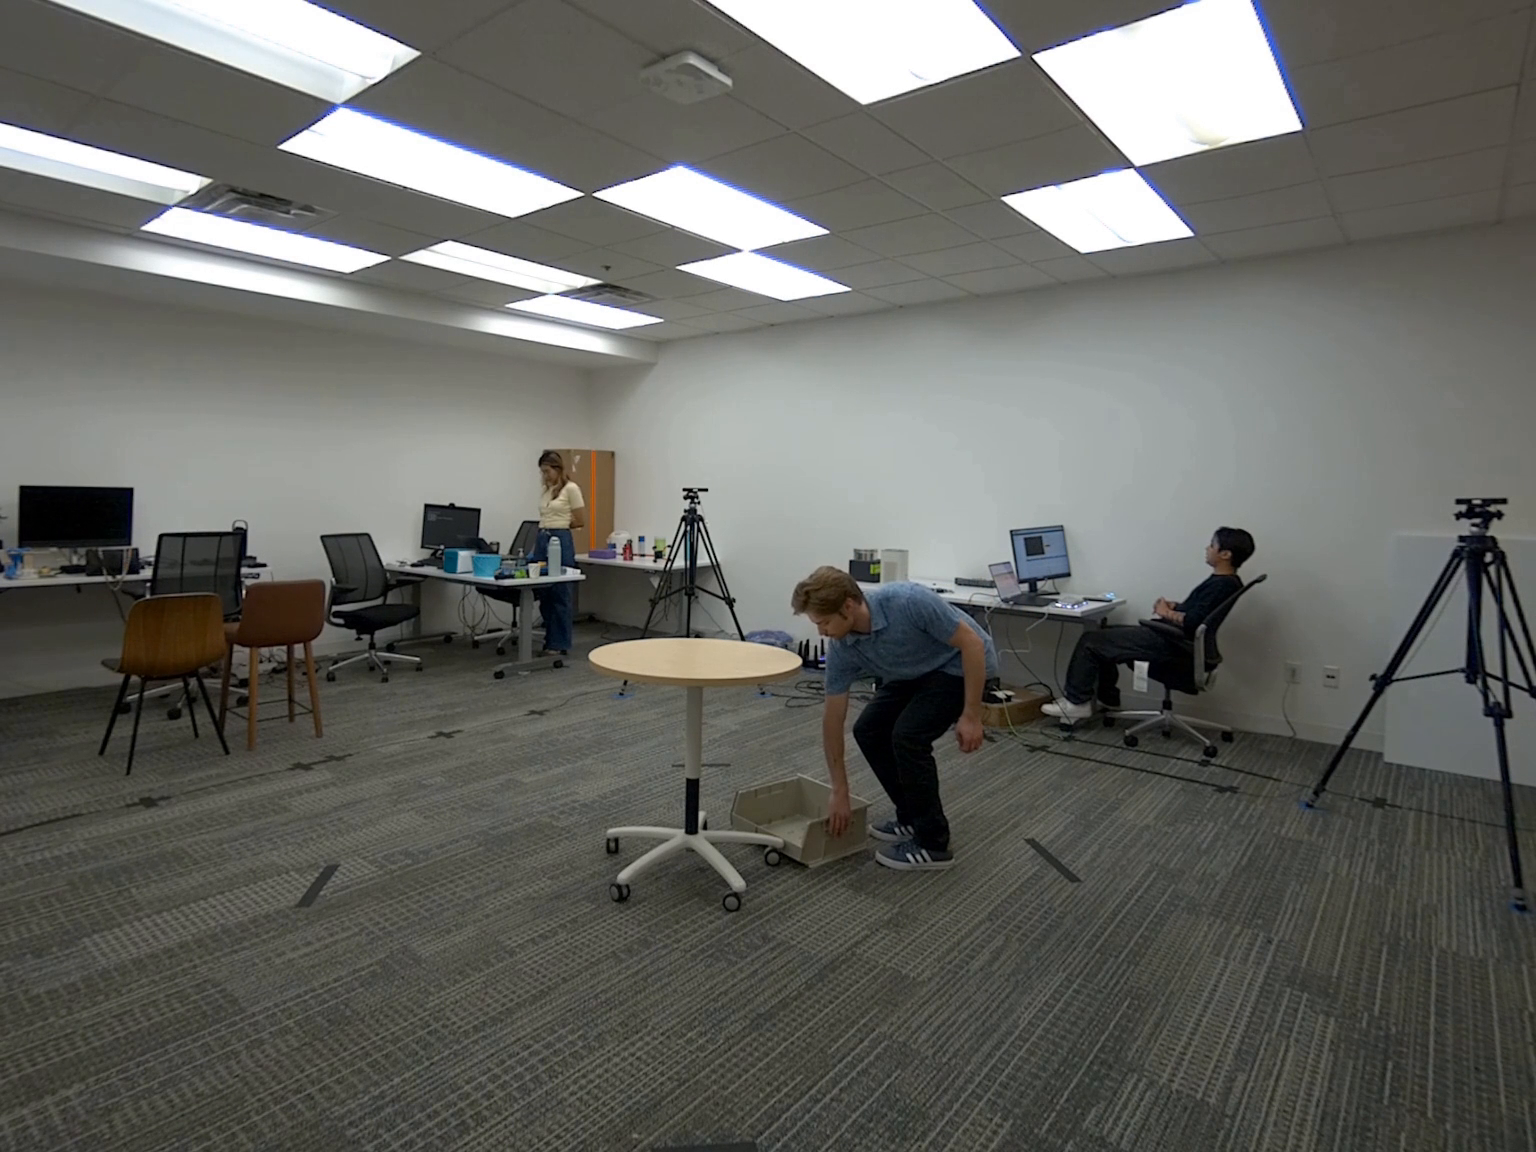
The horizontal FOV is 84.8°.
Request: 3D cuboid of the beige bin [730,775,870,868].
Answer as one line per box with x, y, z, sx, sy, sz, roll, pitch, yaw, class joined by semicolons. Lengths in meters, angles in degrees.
0.120;0.961;3.377;0.366;0.188;0.437;-1;5;-41;beige bin
